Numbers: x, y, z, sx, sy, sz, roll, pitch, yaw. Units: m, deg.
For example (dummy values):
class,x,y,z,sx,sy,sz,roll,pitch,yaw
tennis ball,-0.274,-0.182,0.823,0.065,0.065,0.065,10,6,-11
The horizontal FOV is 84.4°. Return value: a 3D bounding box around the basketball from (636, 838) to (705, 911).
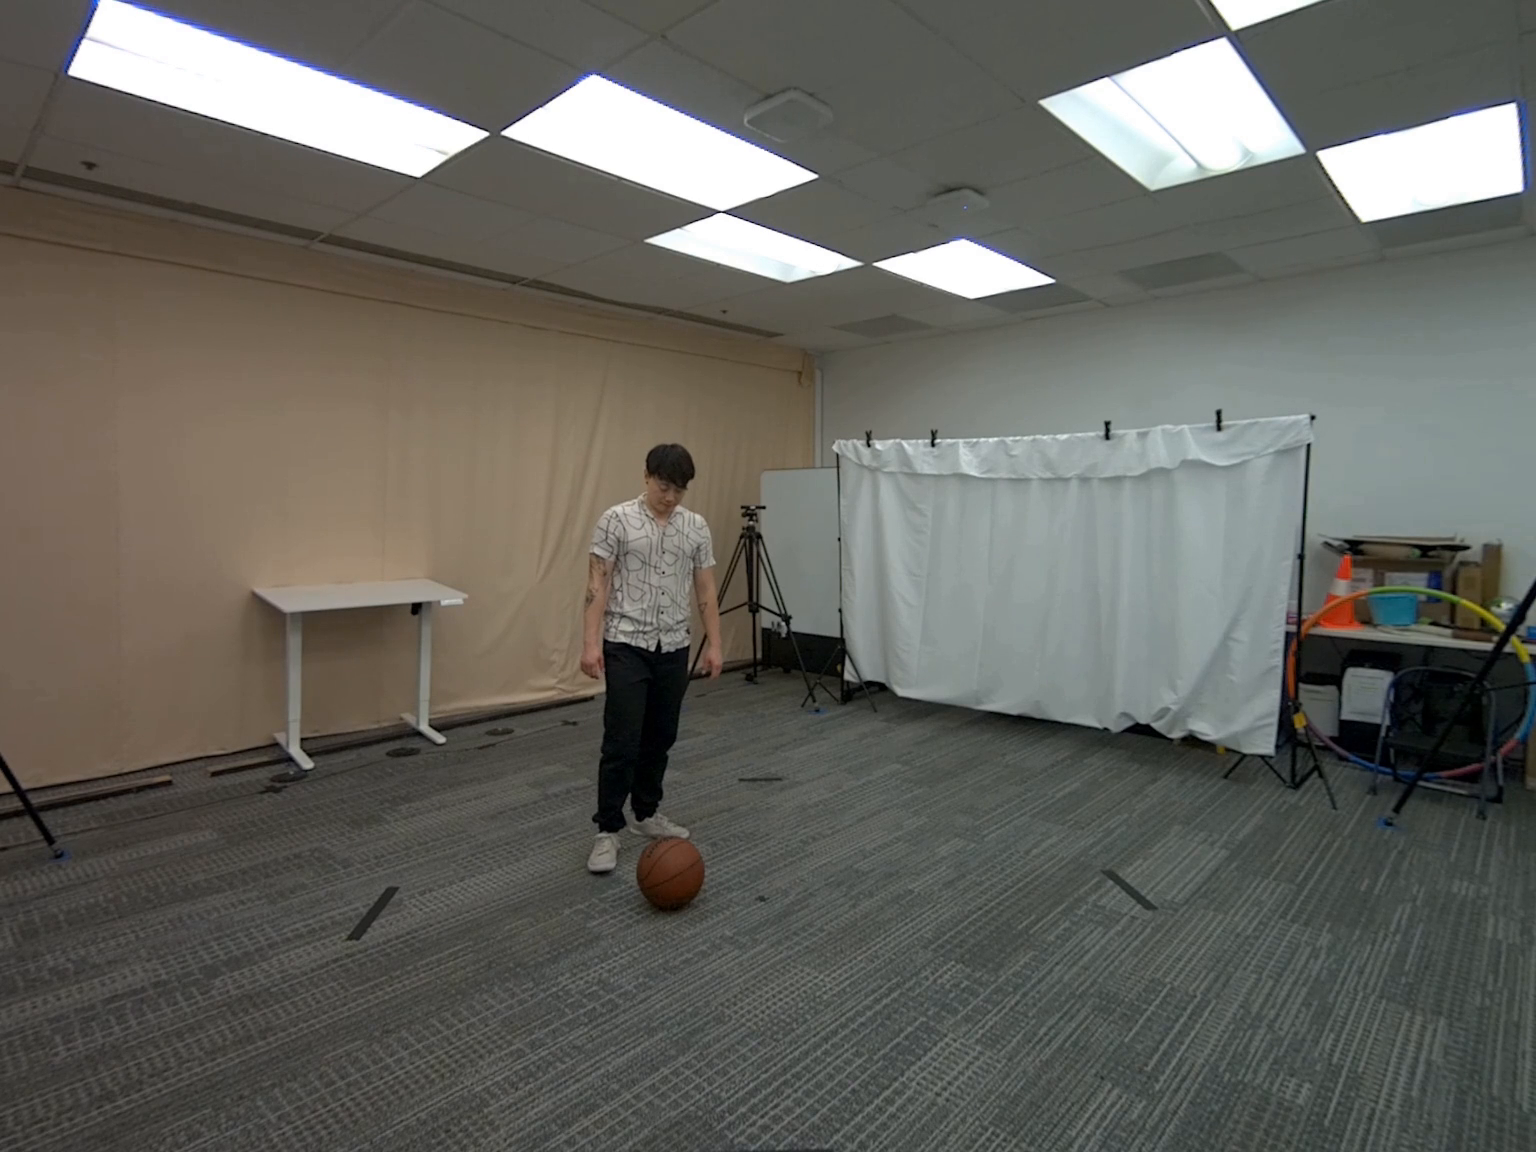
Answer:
class,x,y,z,sx,sy,sz,roll,pitch,yaw
basketball,-0.338,1.029,2.931,0.236,0.235,0.237,0,4,-2
